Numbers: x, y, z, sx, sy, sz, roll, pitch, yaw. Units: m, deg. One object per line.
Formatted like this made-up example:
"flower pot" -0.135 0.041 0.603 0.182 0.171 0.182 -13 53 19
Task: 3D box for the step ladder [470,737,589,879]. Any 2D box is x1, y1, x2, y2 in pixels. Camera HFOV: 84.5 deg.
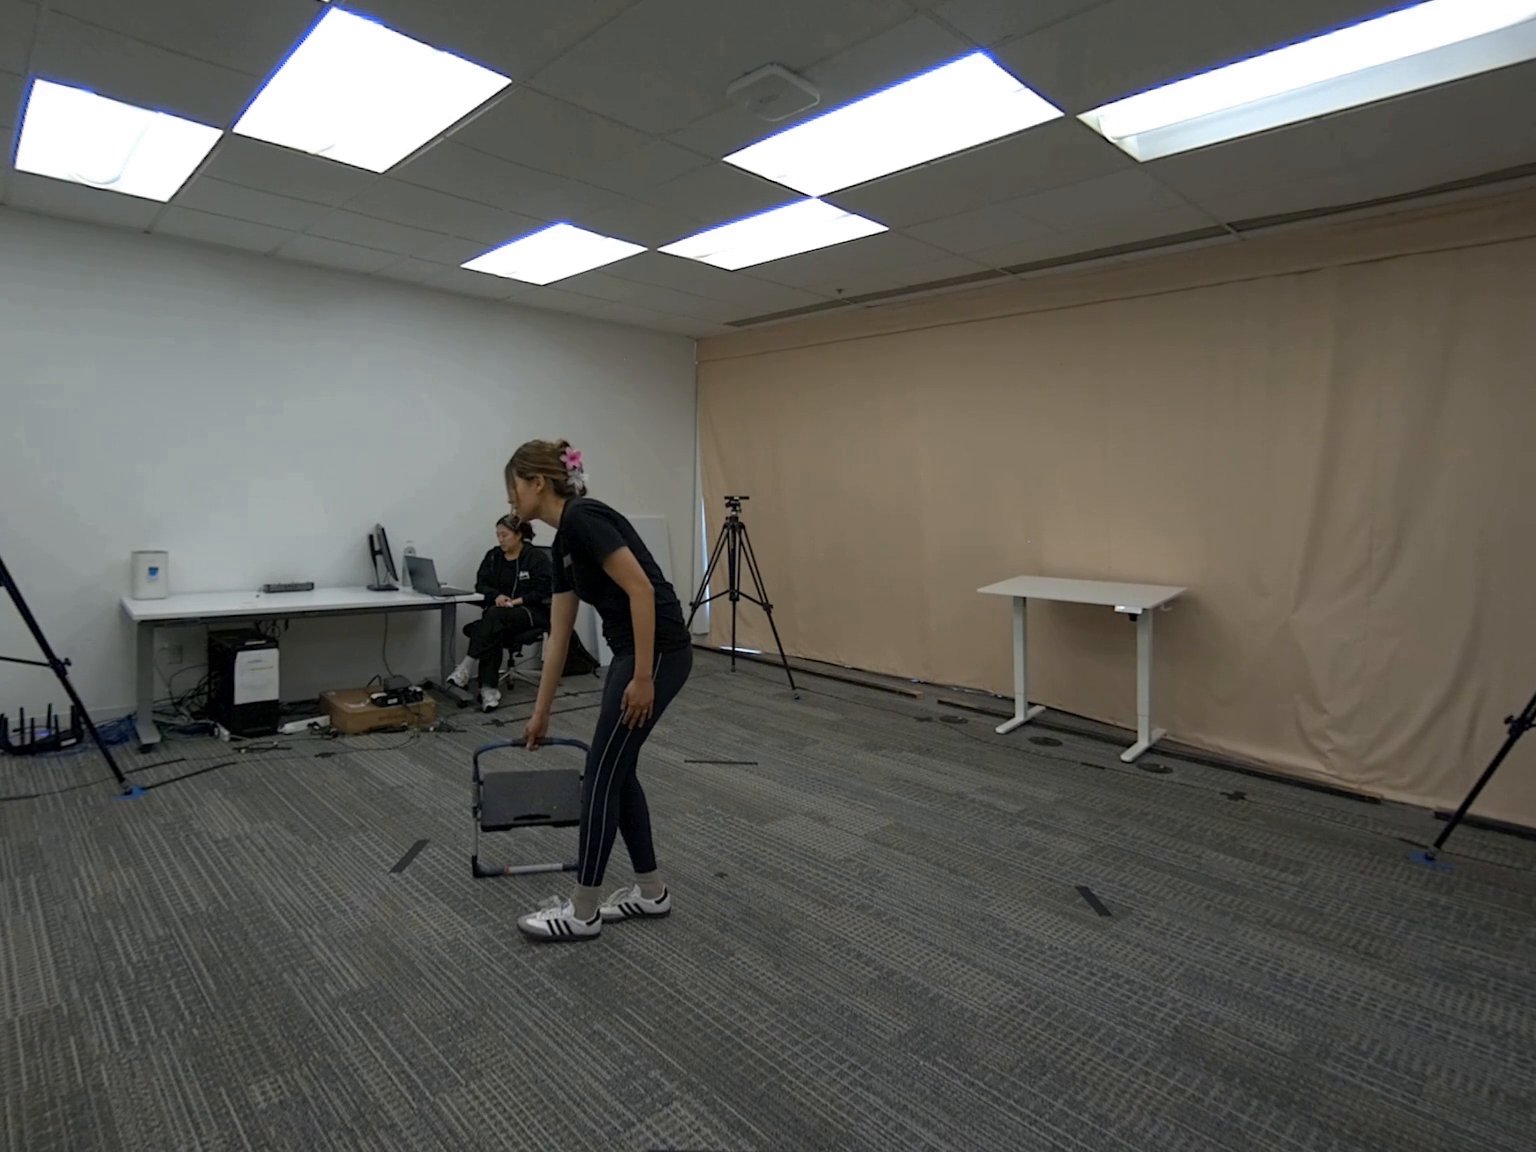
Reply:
"step ladder" -0.865 0.753 3.055 0.426 0.596 0.359 0 35 -15
